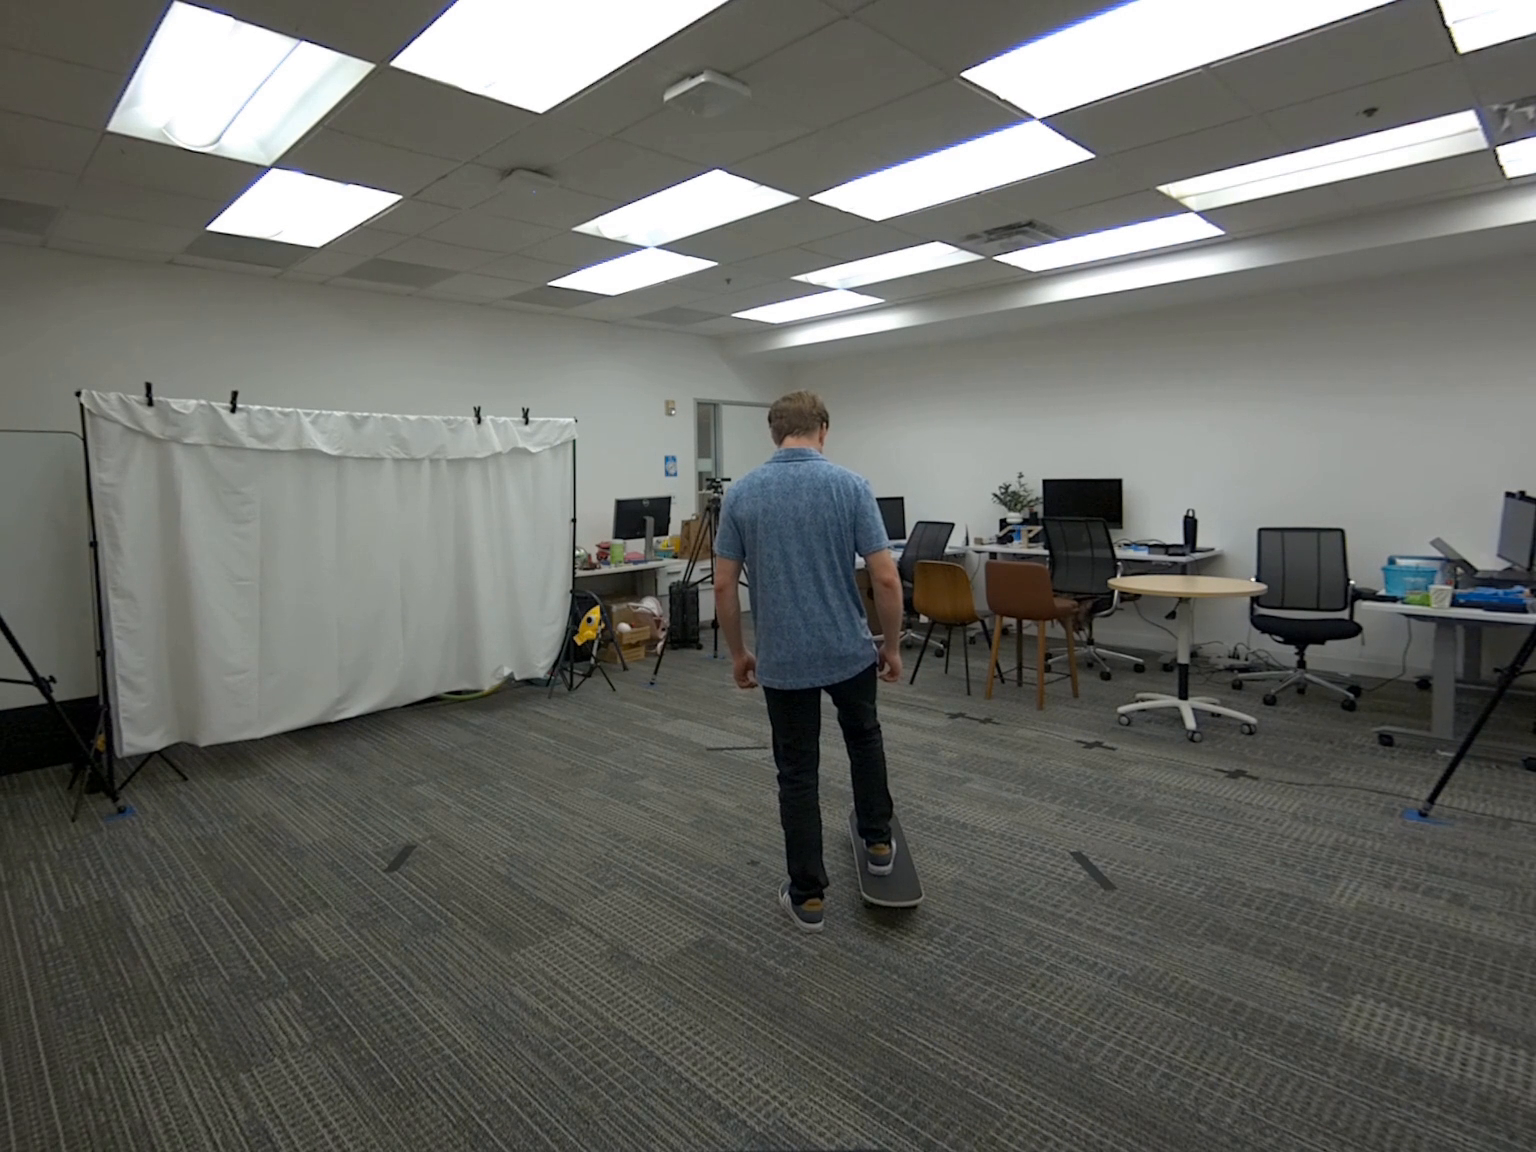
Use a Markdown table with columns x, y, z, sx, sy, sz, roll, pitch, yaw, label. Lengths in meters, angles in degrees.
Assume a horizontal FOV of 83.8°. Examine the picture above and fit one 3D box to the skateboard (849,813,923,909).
| x | y | z | sx | sy | sz | roll | pitch | yaw | label |
| --- | --- | --- | --- | --- | --- | --- | --- | --- | --- |
| 0.400 | 0.989 | 2.984 | 0.194 | 0.110 | 0.787 | -3 | 7 | 1 | skateboard |
